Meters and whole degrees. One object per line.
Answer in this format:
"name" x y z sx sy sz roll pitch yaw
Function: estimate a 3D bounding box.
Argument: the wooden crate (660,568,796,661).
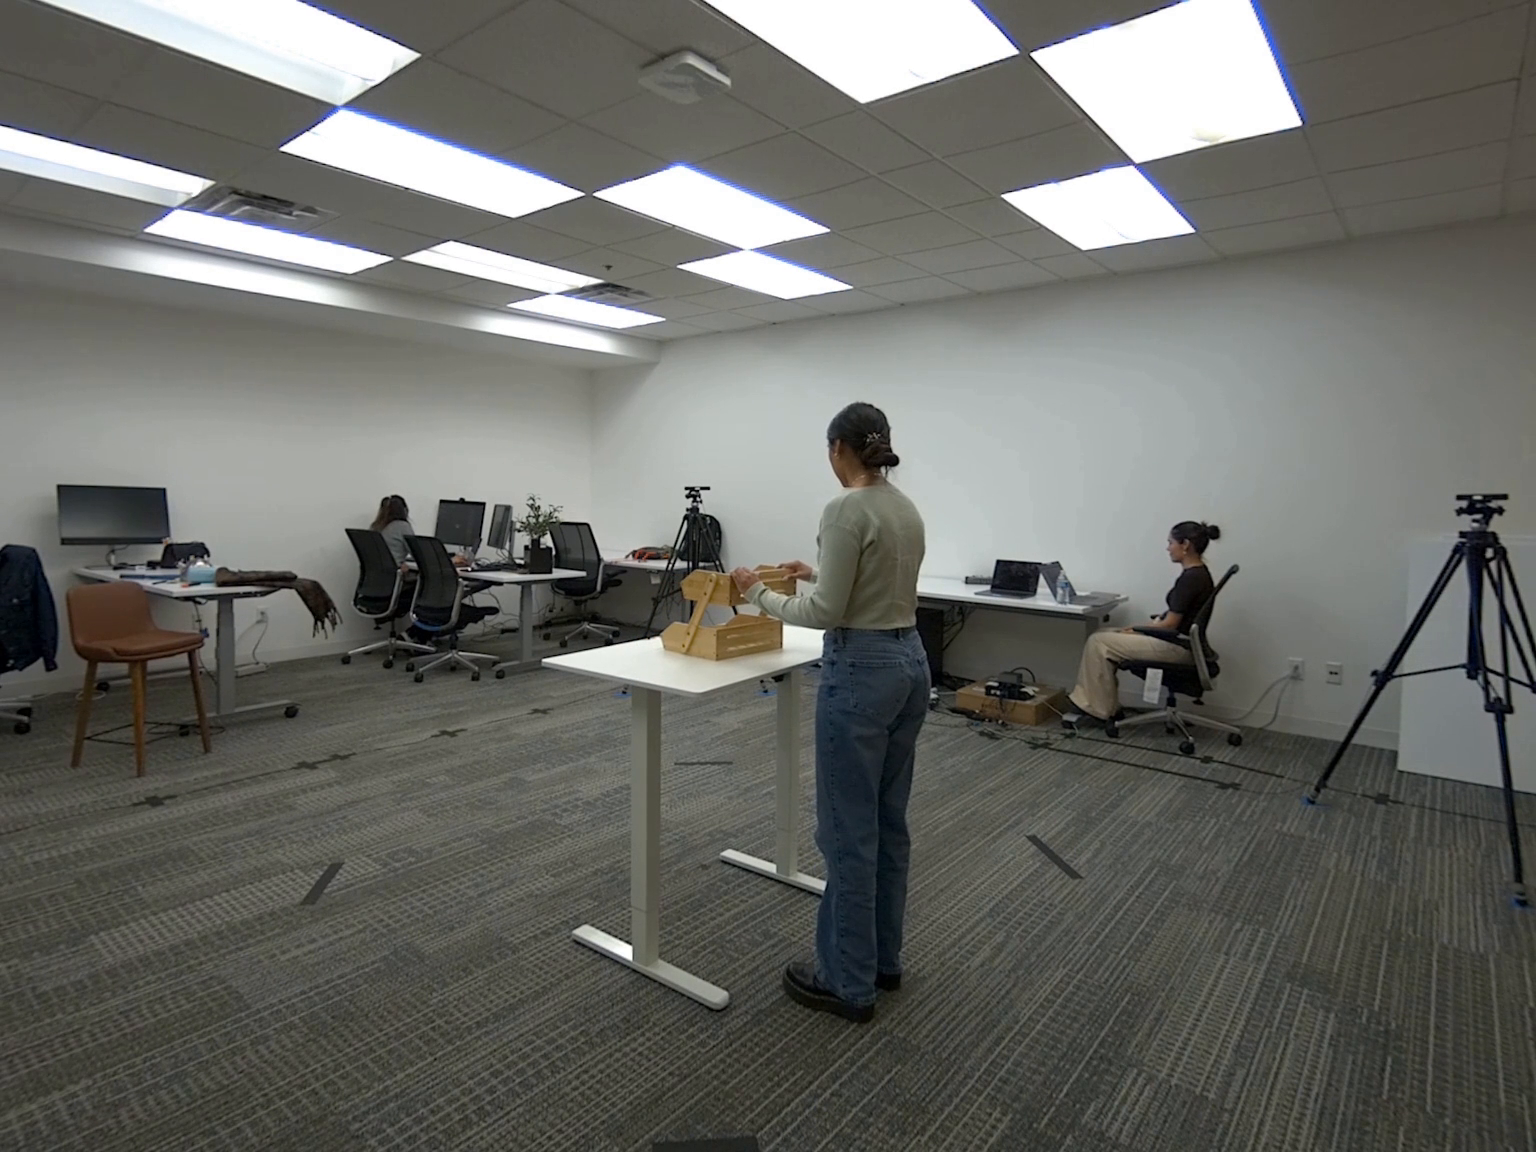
"wooden crate" -0.134 0.098 2.655 0.312 0.272 0.315 6 7 43
